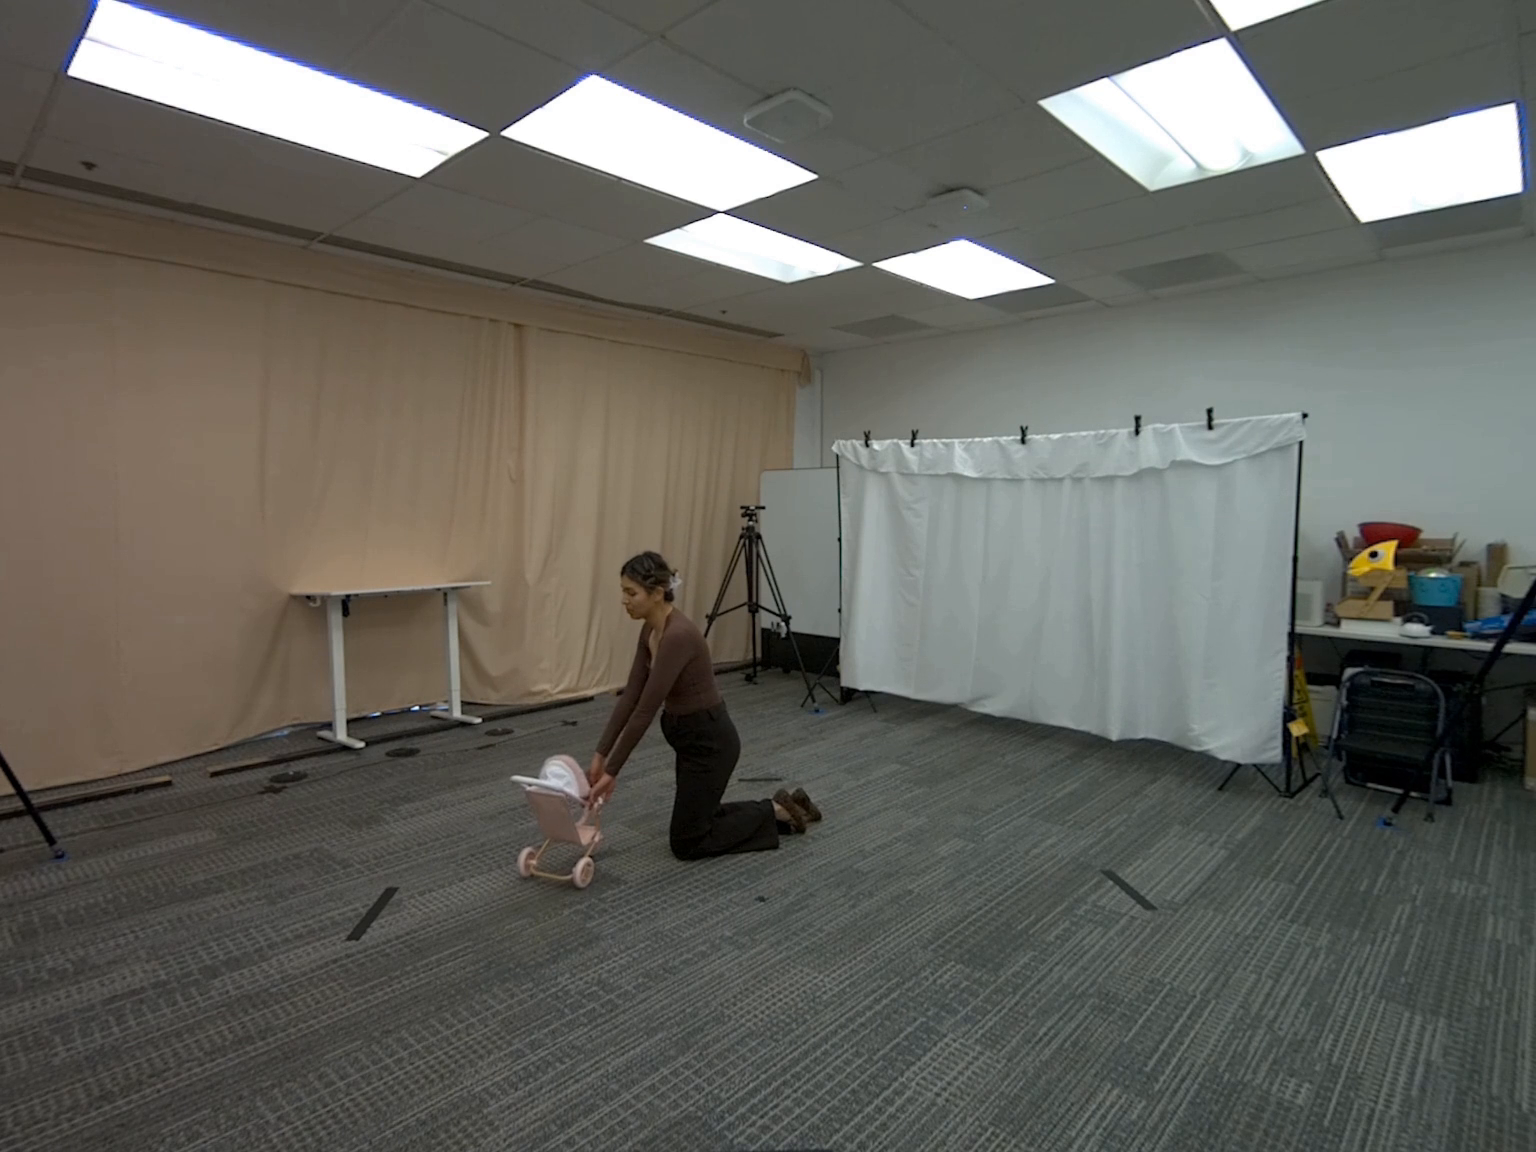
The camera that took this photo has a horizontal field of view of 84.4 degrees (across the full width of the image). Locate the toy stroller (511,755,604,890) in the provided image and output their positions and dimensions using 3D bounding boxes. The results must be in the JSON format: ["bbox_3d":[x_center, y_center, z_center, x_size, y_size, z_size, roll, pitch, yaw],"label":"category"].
[{"bbox_3d":[-0.766,0.910,3.183,0.289,0.528,0.336,2,19,25],"label":"toy stroller"}]
